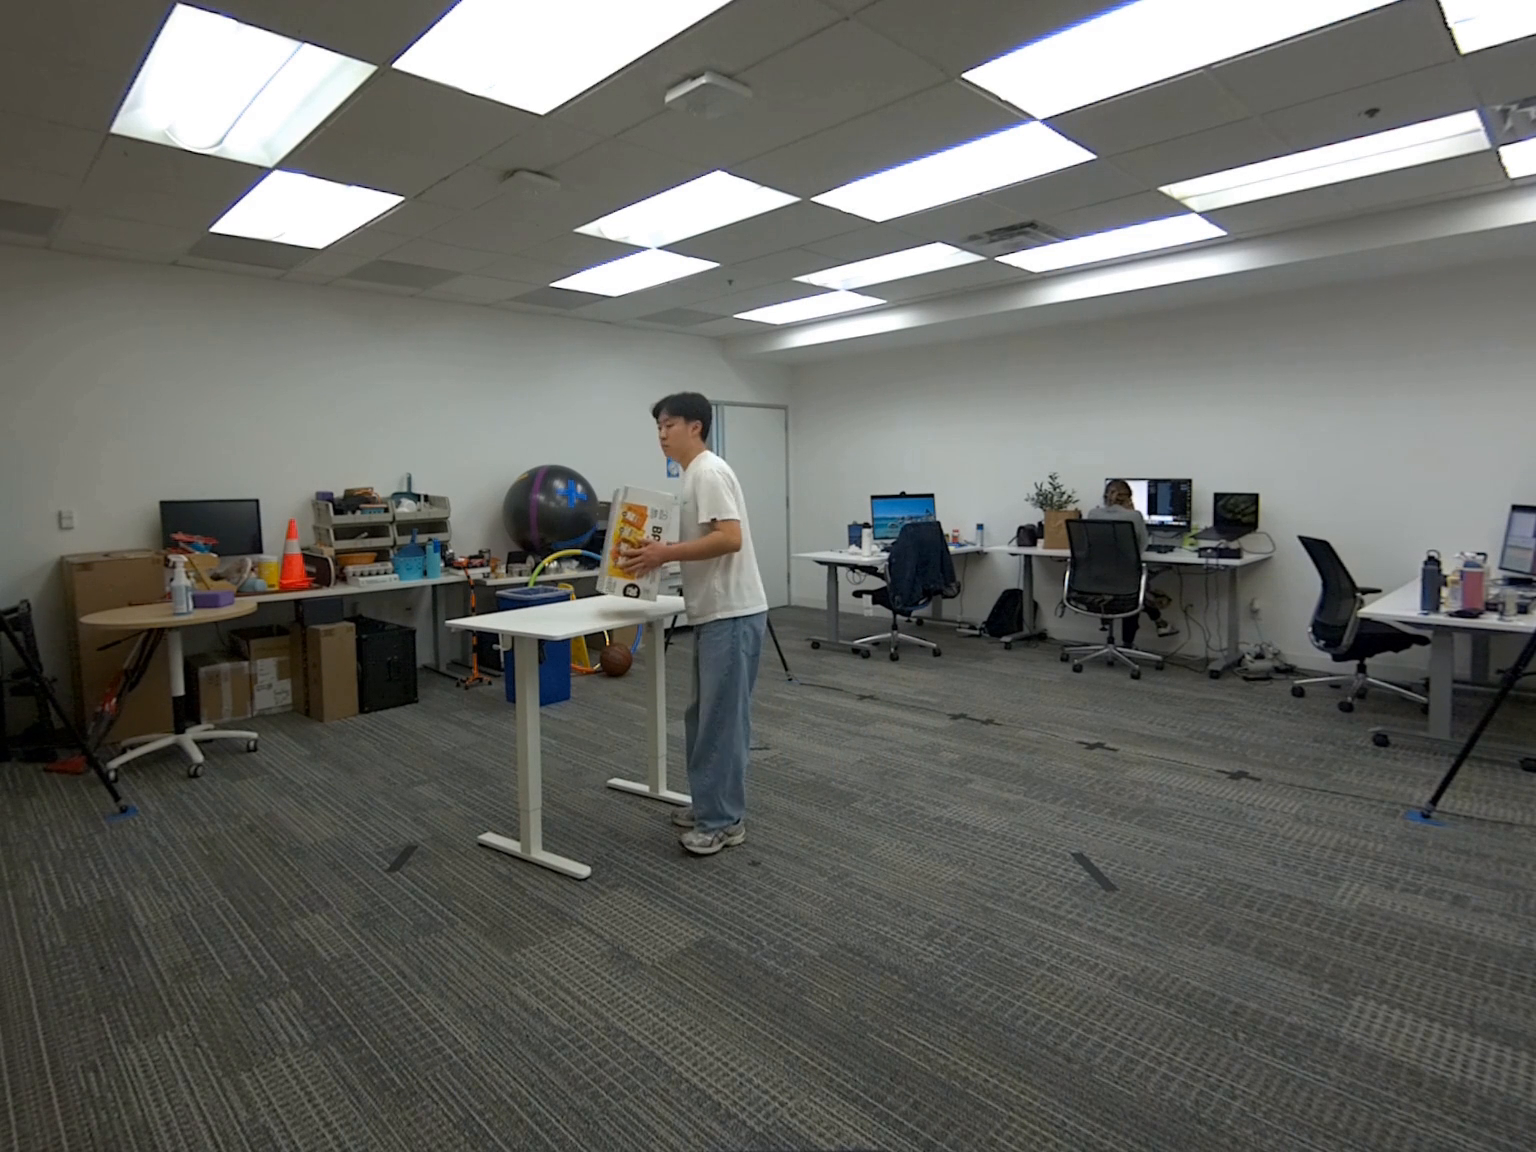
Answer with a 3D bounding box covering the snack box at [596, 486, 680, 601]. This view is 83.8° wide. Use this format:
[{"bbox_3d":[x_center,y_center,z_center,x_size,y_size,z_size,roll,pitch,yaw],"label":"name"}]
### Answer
[{"bbox_3d":[-0.518,-0.121,3.304,0.203,0.406,0.345,11,-2,-14],"label":"snack box"}]
